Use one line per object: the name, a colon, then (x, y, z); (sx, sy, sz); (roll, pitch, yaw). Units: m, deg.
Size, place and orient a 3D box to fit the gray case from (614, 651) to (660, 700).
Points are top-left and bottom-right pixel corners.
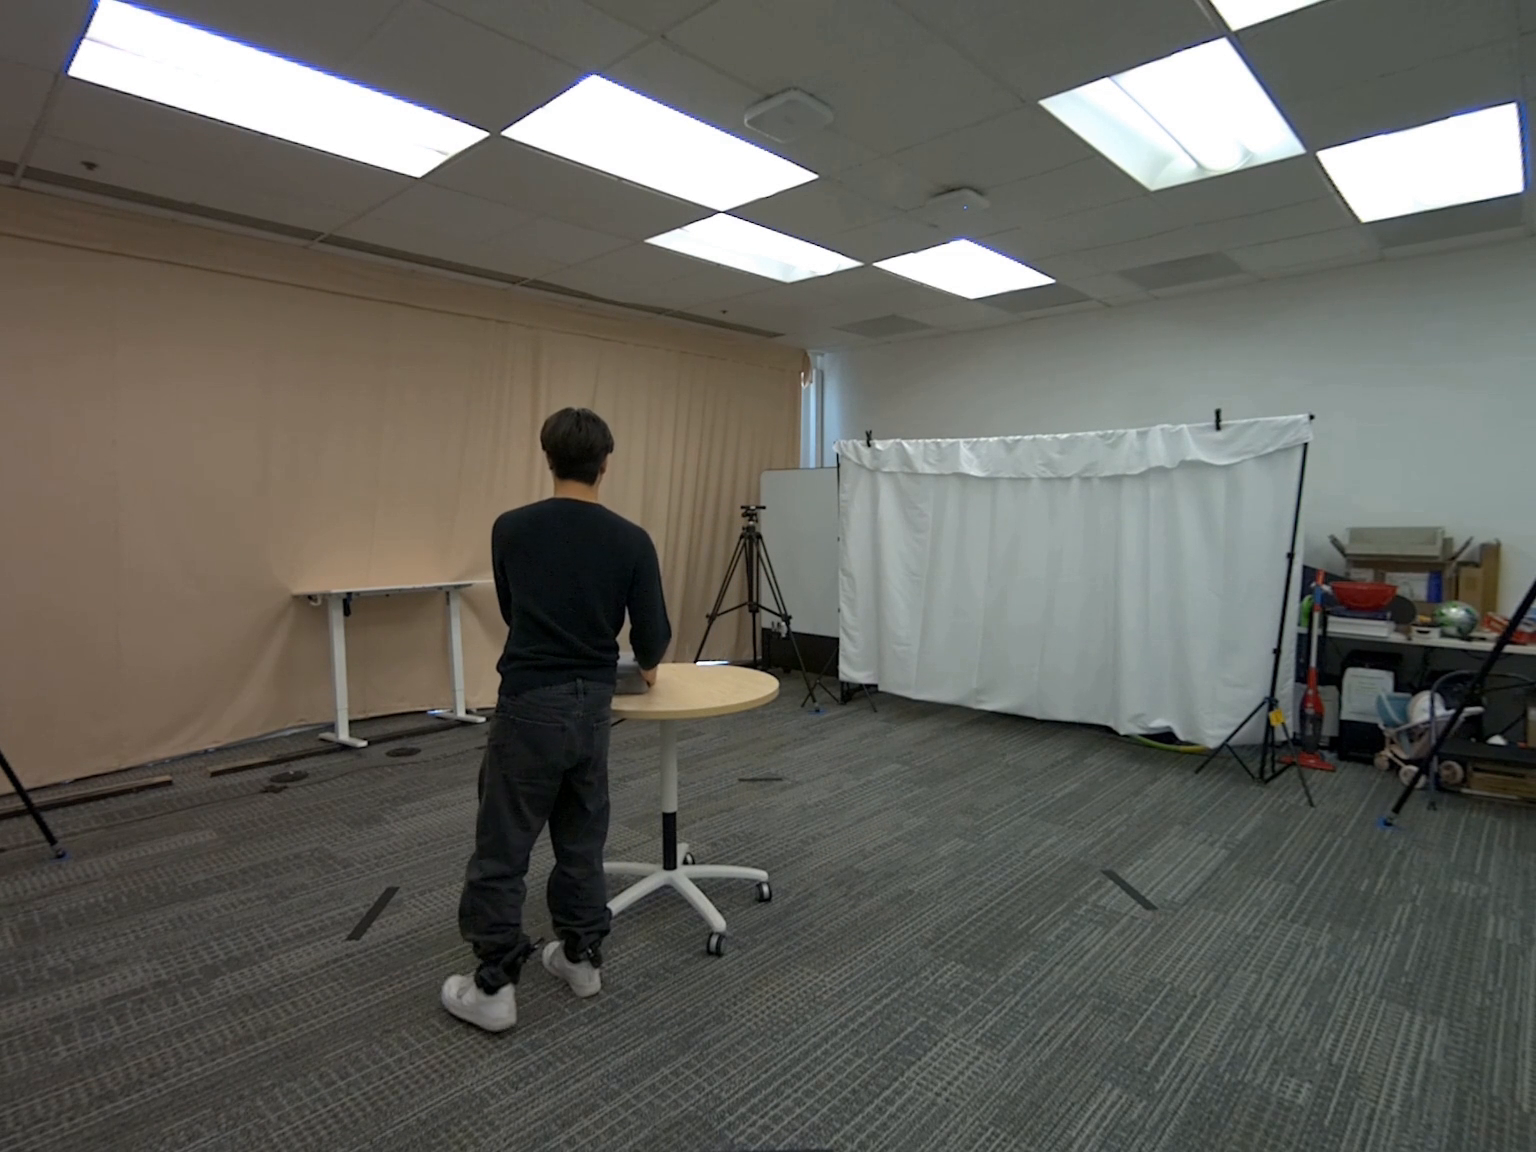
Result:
gray case: (-0.513, 0.326, 2.839); (0.258, 0.104, 0.260); (1, 5, 4)
